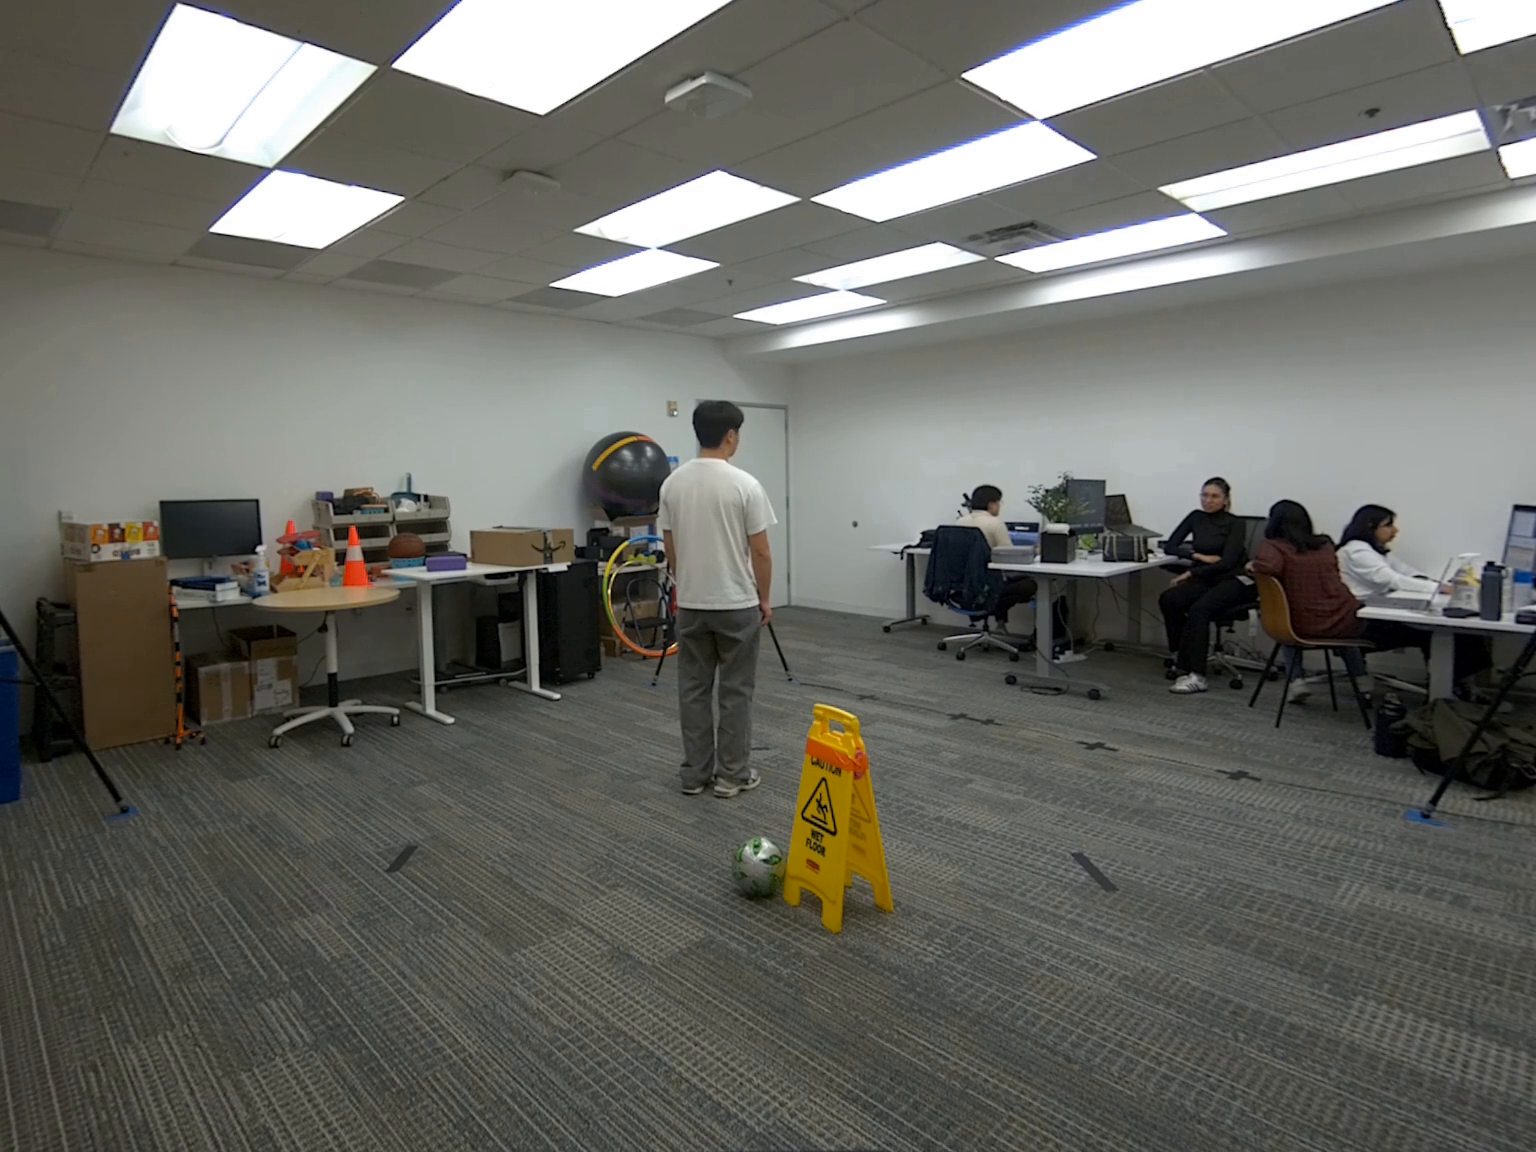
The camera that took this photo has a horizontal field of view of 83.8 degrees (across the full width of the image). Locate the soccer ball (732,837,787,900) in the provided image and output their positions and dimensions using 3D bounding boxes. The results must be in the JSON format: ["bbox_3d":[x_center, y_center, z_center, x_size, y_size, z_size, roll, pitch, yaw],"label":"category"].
[{"bbox_3d":[-0.030,0.983,2.895,0.187,0.187,0.188,-1,5,-2],"label":"soccer ball"}]
